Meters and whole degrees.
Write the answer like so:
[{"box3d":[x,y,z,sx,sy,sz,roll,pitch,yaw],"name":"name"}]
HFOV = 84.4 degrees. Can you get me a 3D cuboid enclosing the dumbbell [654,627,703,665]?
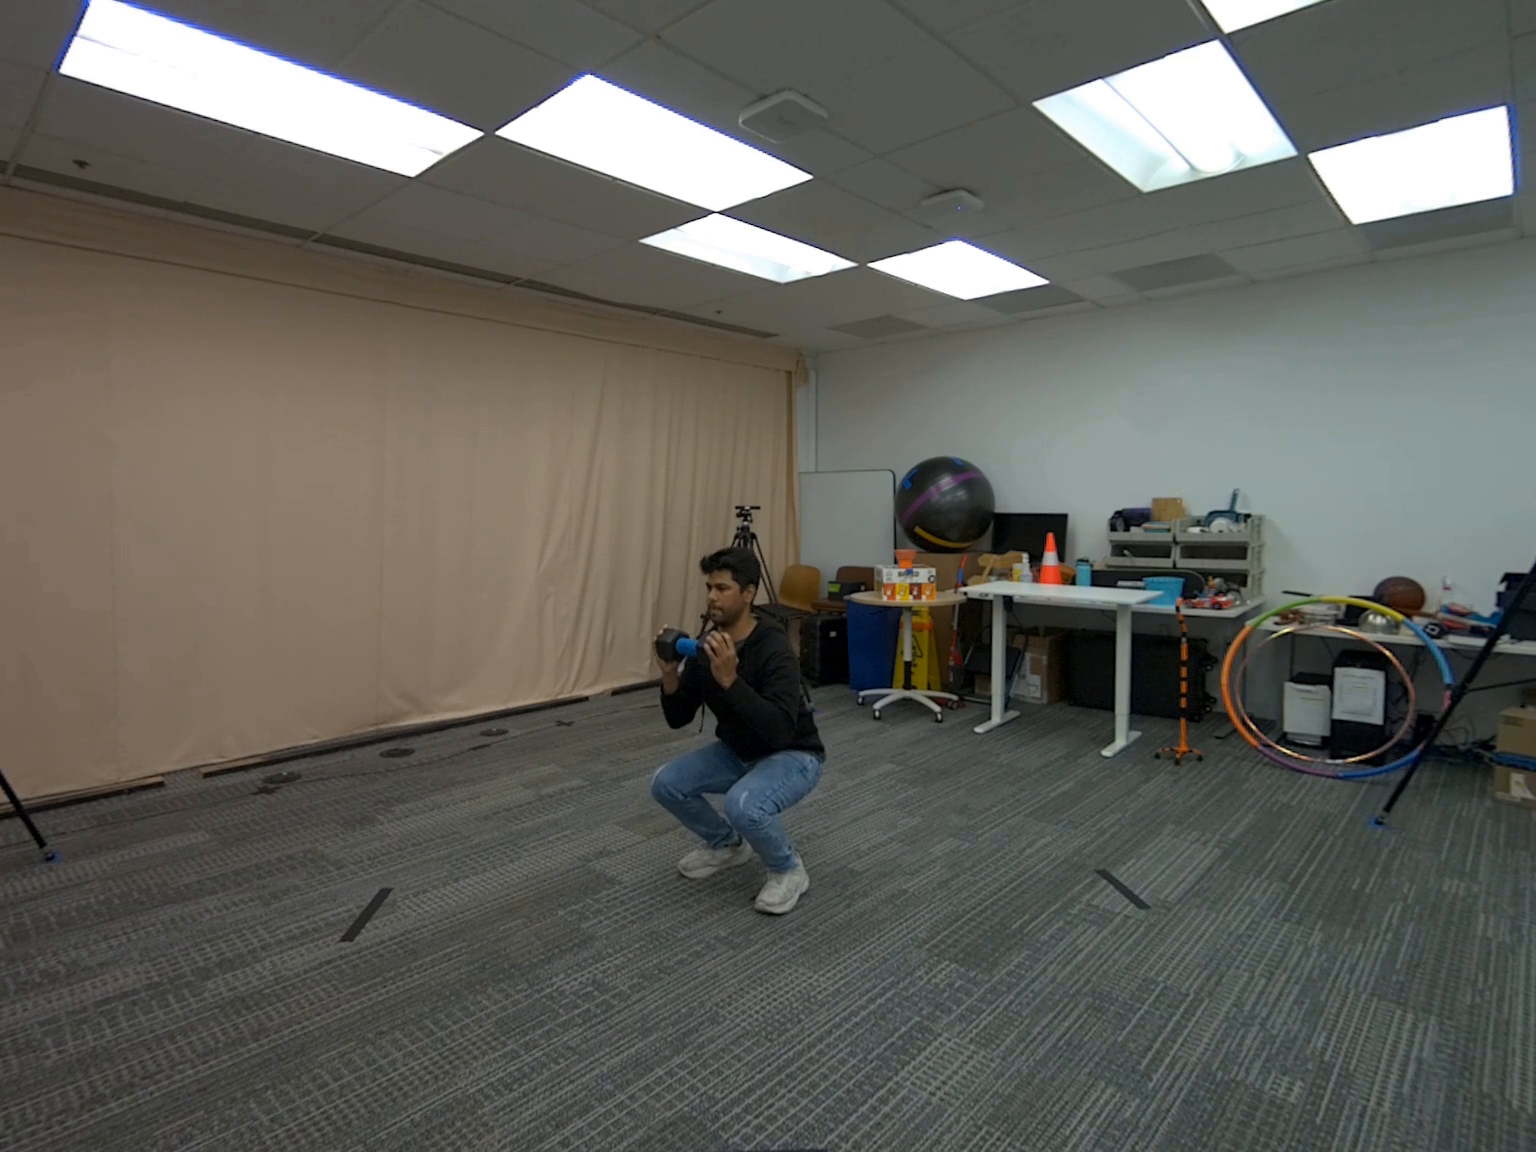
[{"box3d":[-0.248,0.242,2.901,0.303,0.122,0.106,4,12,44],"name":"dumbbell"}]
